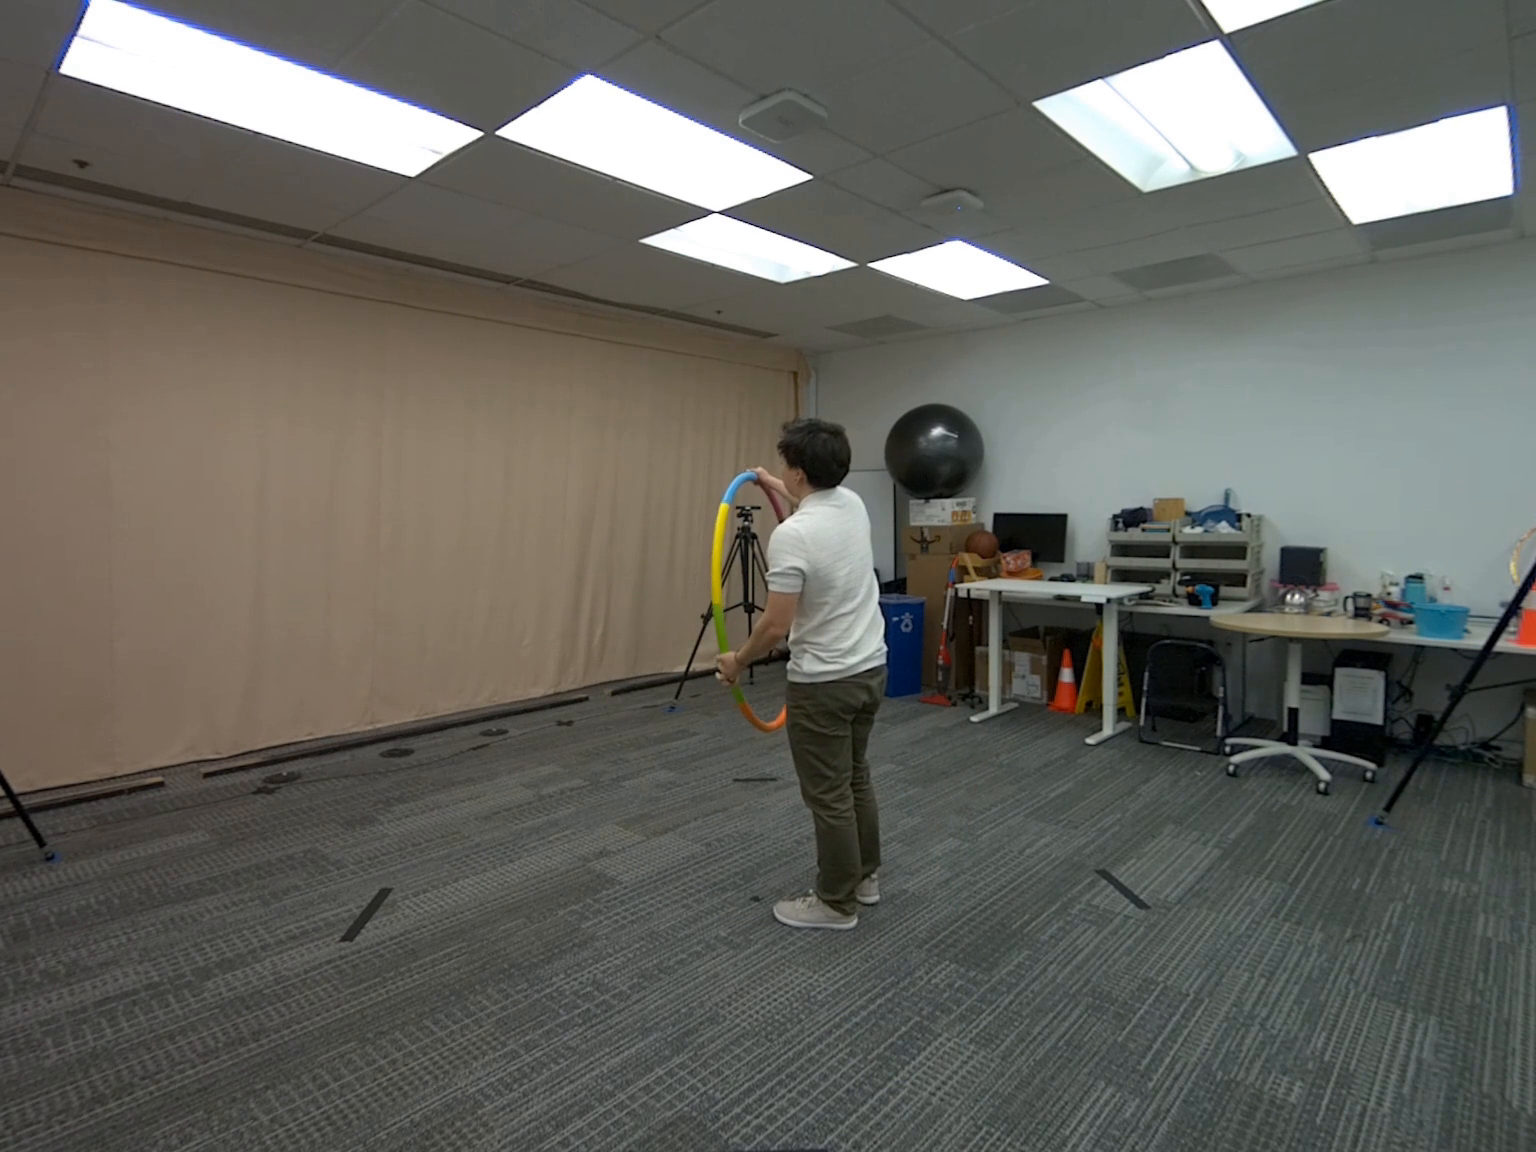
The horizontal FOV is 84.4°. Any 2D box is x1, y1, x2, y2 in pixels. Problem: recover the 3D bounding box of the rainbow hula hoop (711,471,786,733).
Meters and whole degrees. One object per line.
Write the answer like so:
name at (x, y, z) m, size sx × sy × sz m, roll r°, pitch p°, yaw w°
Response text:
rainbow hula hoop at (-0.012, 0.090, 3.241) m, size 0.036 × 0.978 × 0.959 m, roll -6°, pitch 1°, yaw 20°
